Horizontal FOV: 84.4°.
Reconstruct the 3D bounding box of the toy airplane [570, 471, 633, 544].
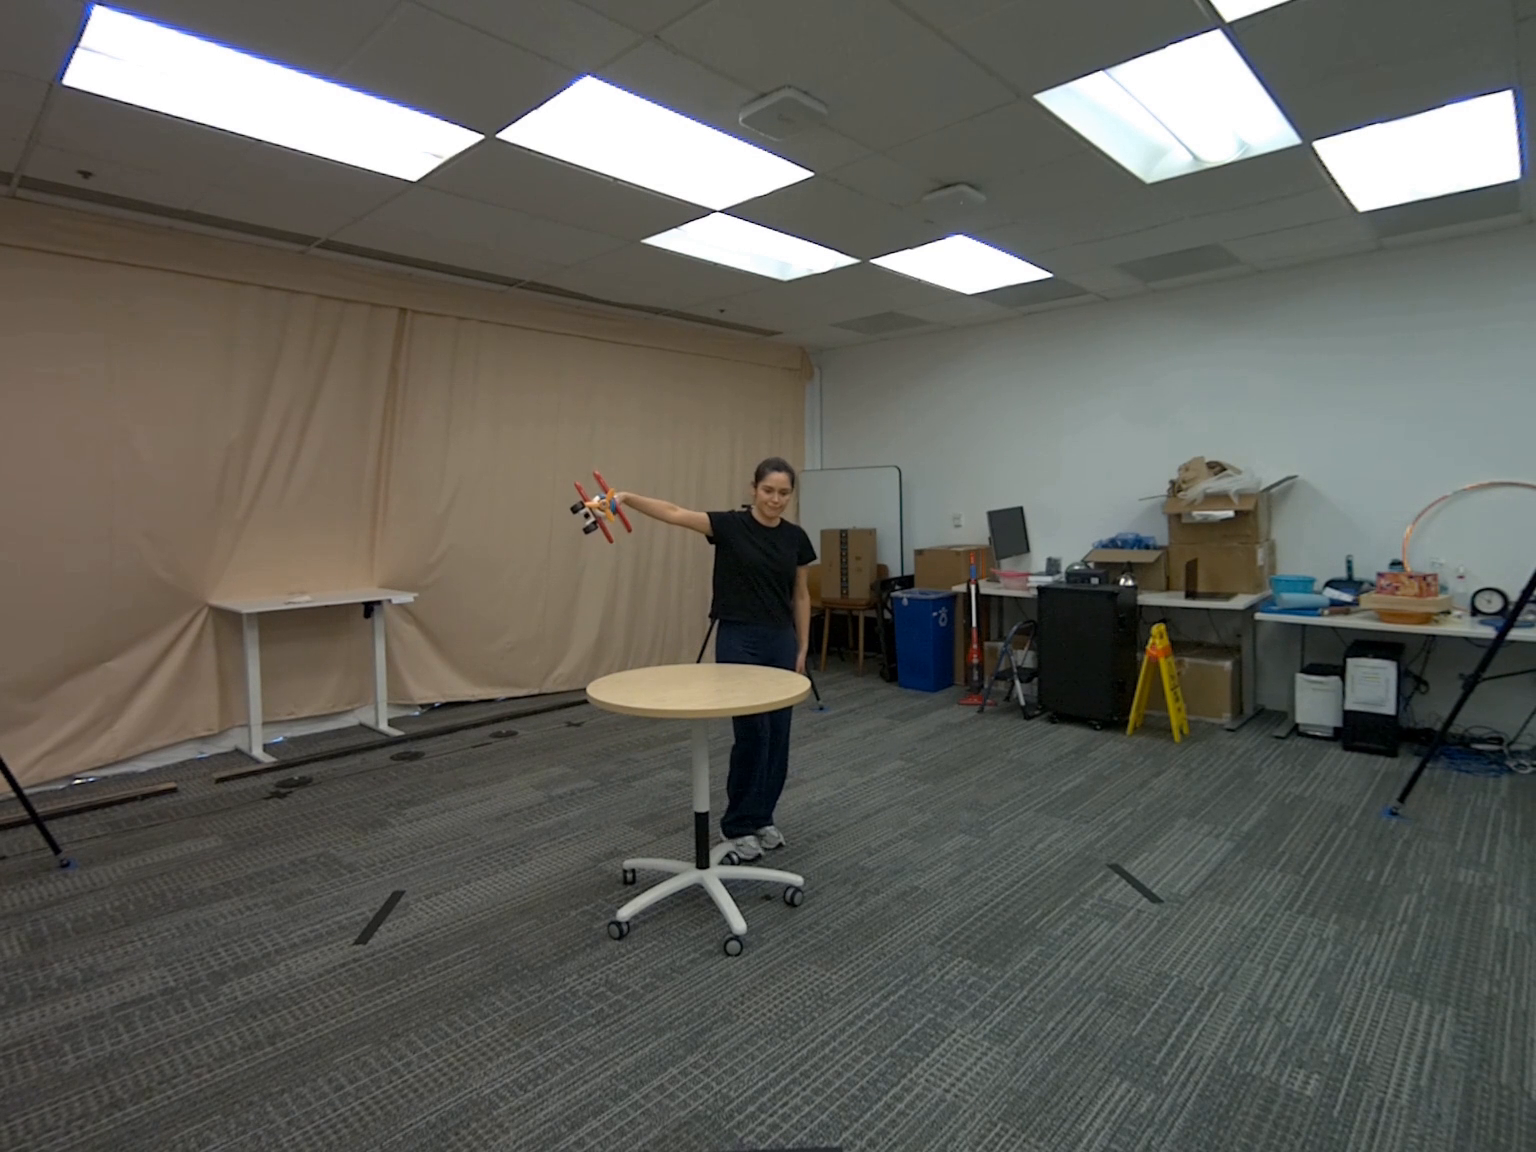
[{"bbox_3d":[-0.612,-0.251,3.068,0.156,0.244,0.266,-31,33,1],"label":"toy airplane"}]
